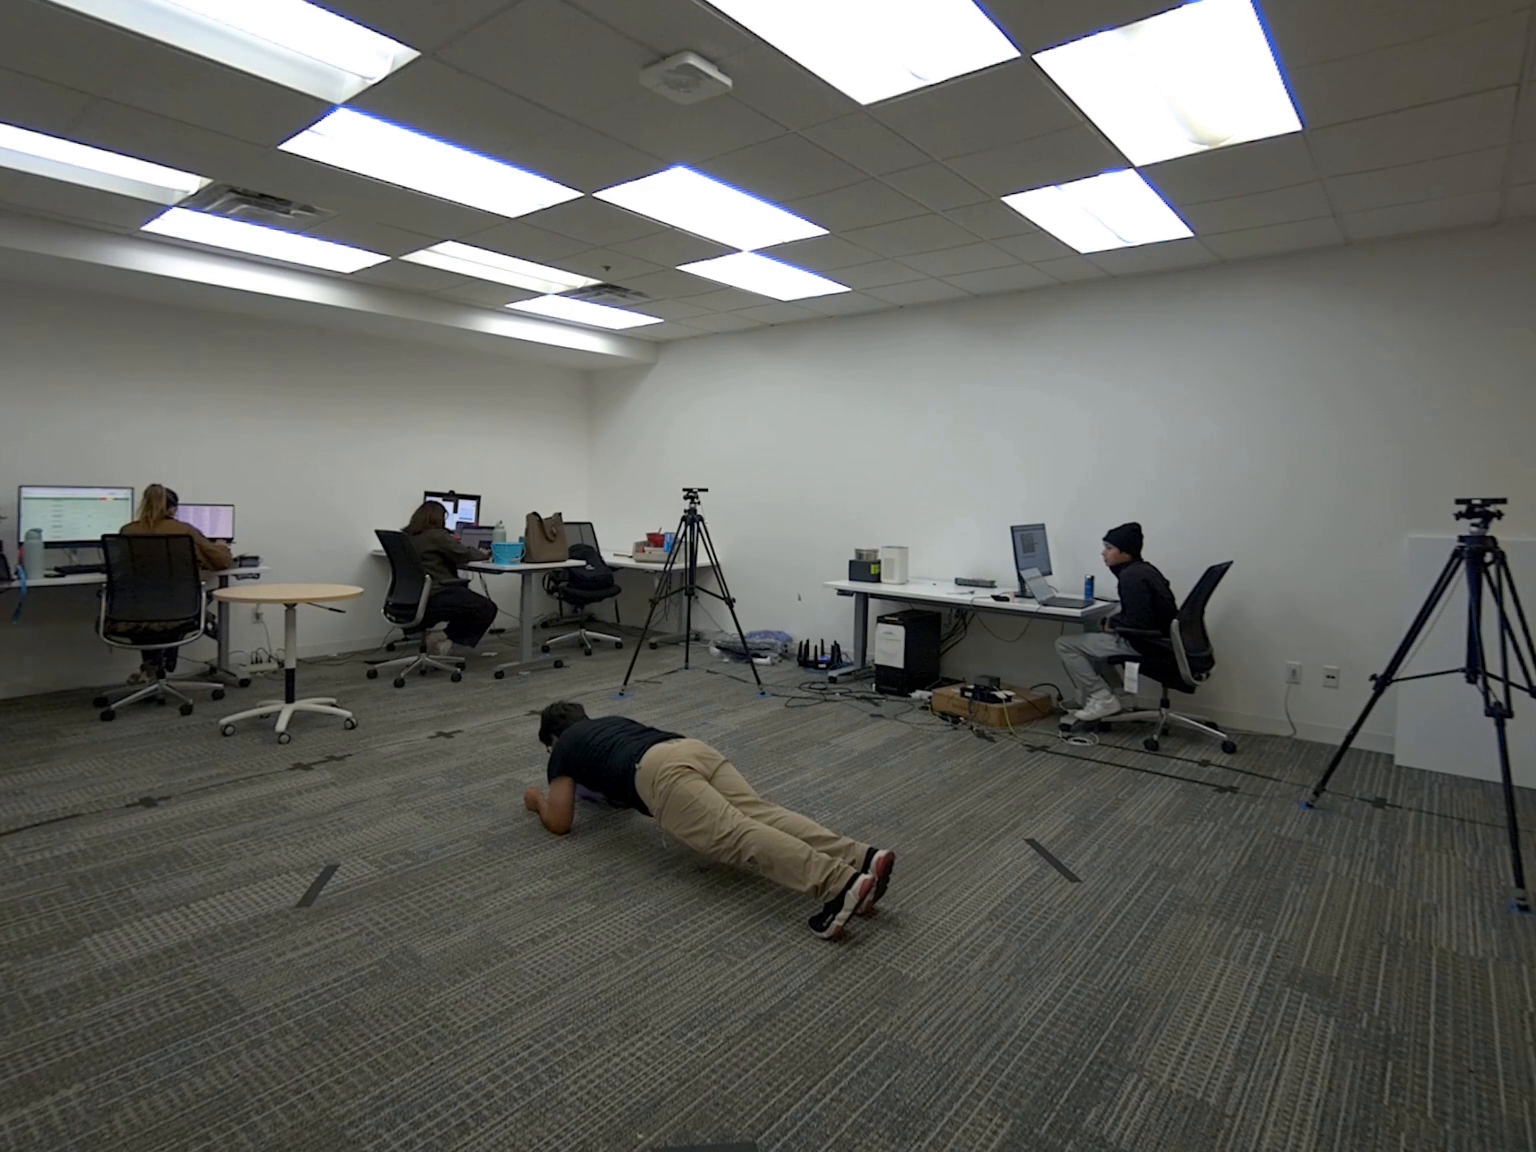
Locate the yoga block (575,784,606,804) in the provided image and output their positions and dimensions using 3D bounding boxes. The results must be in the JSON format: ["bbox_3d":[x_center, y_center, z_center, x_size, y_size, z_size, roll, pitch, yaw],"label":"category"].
[{"bbox_3d":[-0.770,0.887,3.756,0.236,0.148,0.074,-7,5,44],"label":"yoga block"}]
